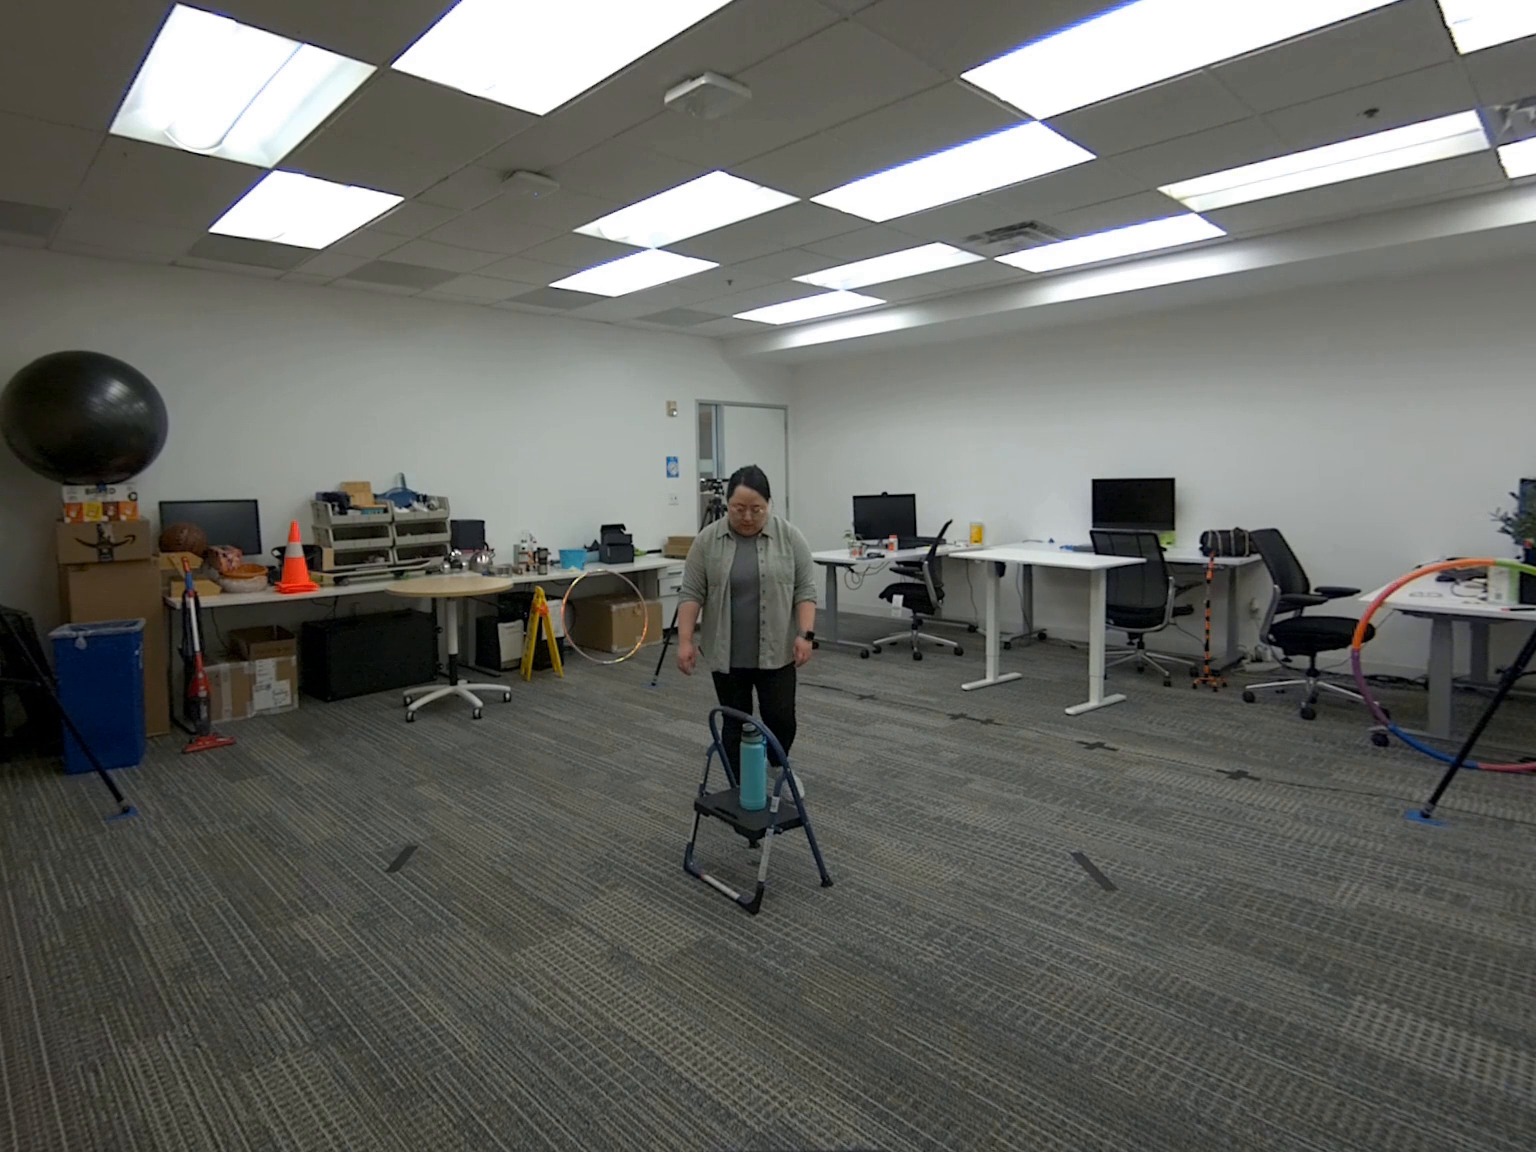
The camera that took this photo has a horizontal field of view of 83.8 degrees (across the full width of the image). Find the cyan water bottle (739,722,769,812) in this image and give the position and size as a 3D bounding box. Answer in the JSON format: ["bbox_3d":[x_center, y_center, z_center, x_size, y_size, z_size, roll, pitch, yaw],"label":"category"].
[{"bbox_3d":[-0.049,0.661,2.963,0.092,0.283,0.092,2,3,-2],"label":"cyan water bottle"}]
